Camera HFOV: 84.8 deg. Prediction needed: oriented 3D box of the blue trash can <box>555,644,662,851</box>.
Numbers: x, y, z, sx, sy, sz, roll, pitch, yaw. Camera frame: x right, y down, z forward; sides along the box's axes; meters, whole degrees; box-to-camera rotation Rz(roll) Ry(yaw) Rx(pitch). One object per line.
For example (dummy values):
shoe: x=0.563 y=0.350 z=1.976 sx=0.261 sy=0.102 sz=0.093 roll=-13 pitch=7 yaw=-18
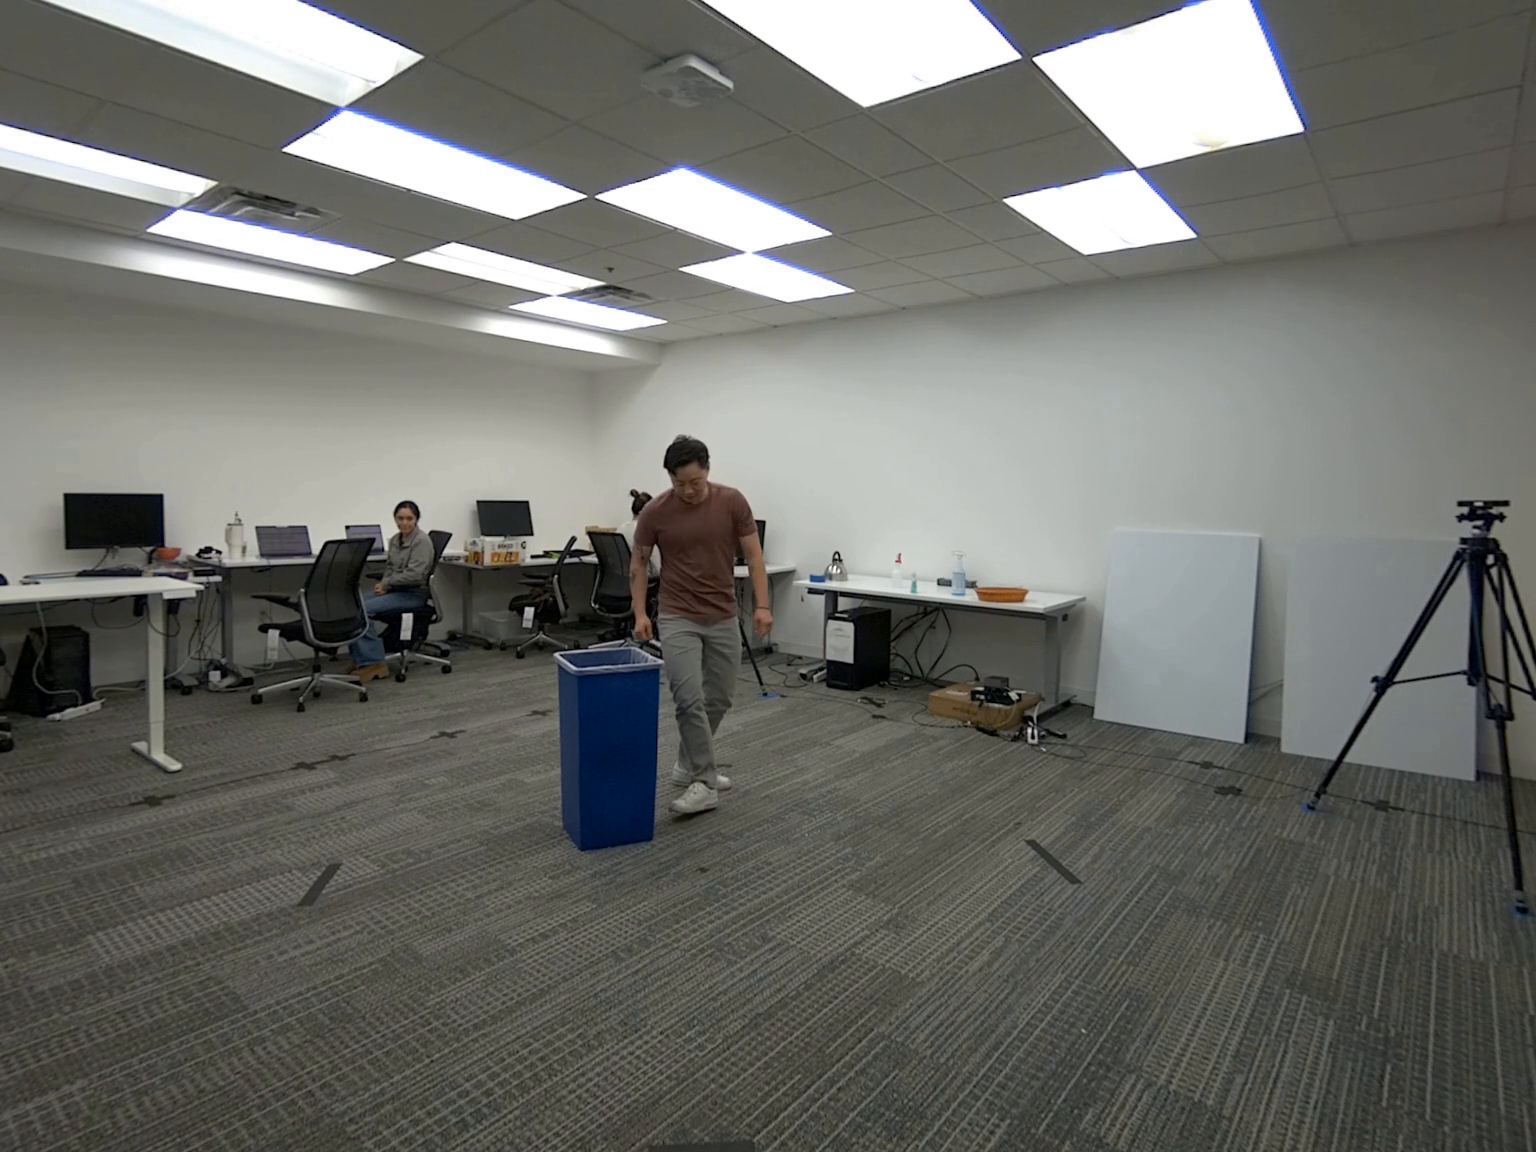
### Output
blue trash can: x=-0.664 y=0.677 z=3.420 sx=0.365 sy=0.712 sz=0.389 roll=0 pitch=3 yaw=-27
